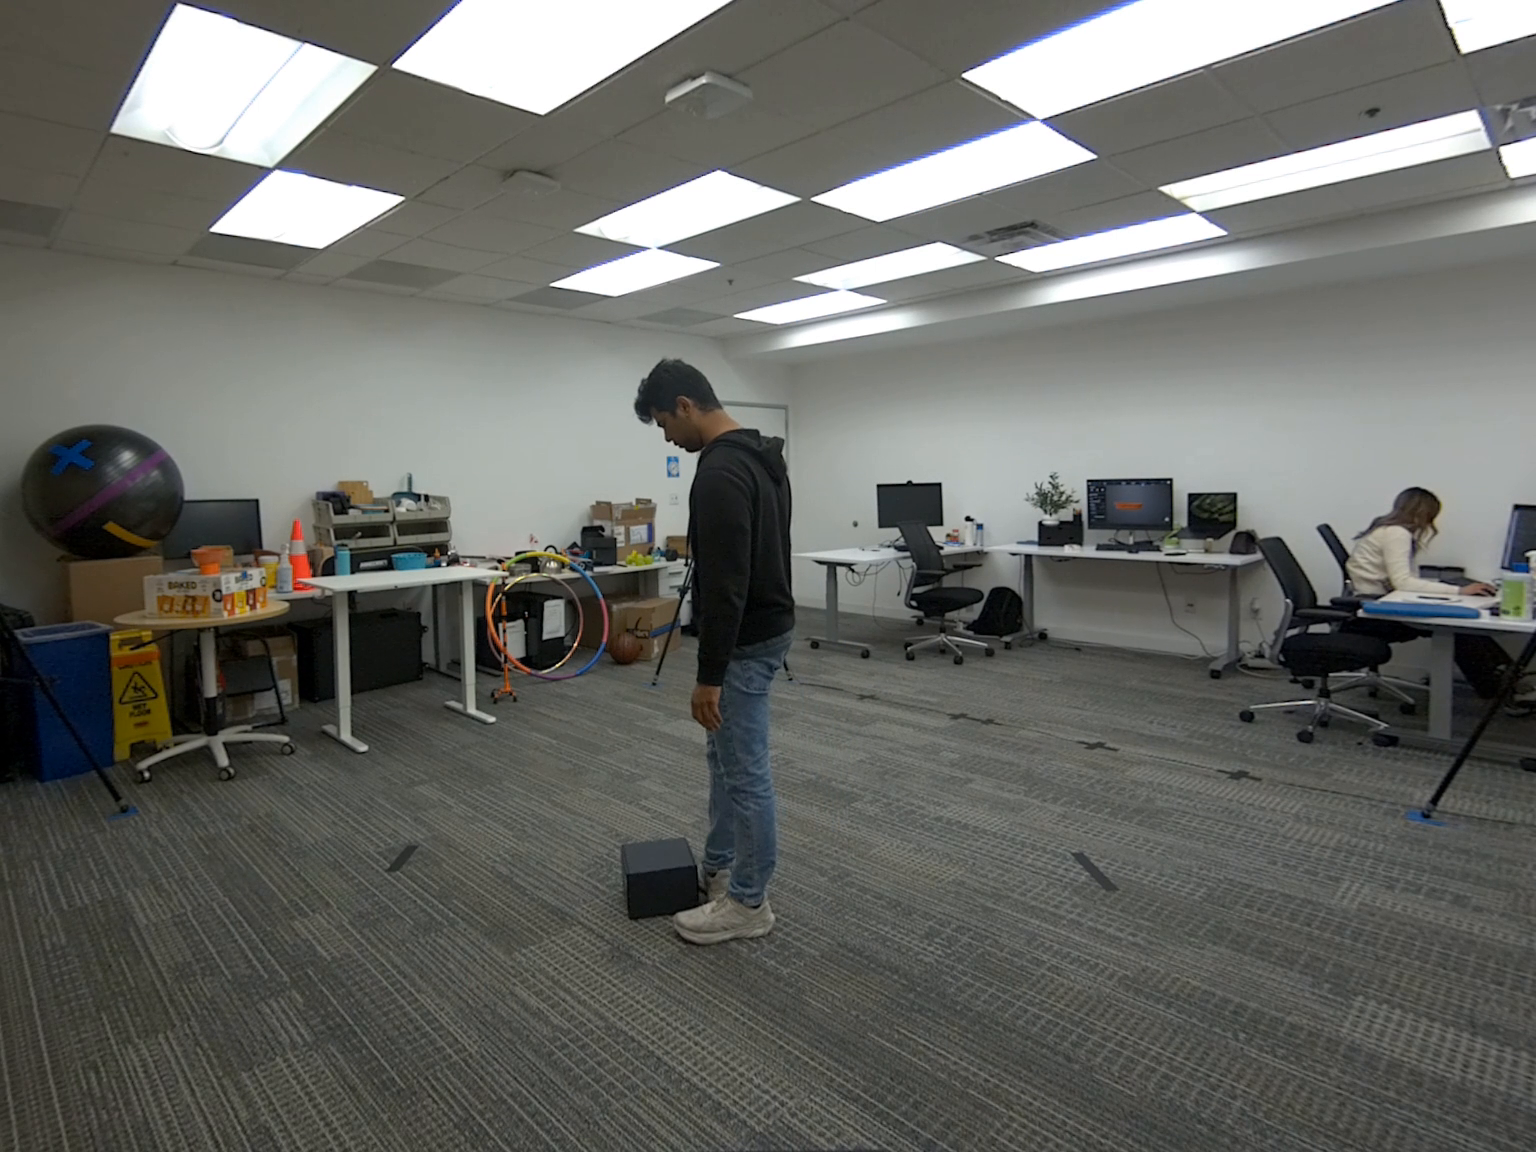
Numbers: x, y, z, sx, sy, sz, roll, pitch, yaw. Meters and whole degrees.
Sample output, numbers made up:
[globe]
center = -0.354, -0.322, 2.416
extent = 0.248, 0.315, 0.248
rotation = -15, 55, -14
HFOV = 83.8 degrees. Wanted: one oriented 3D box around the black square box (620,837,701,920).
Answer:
[black square box]
center = -0.357, 0.997, 2.838
extent = 0.225, 0.155, 0.221
rotation = -2, 6, -14
